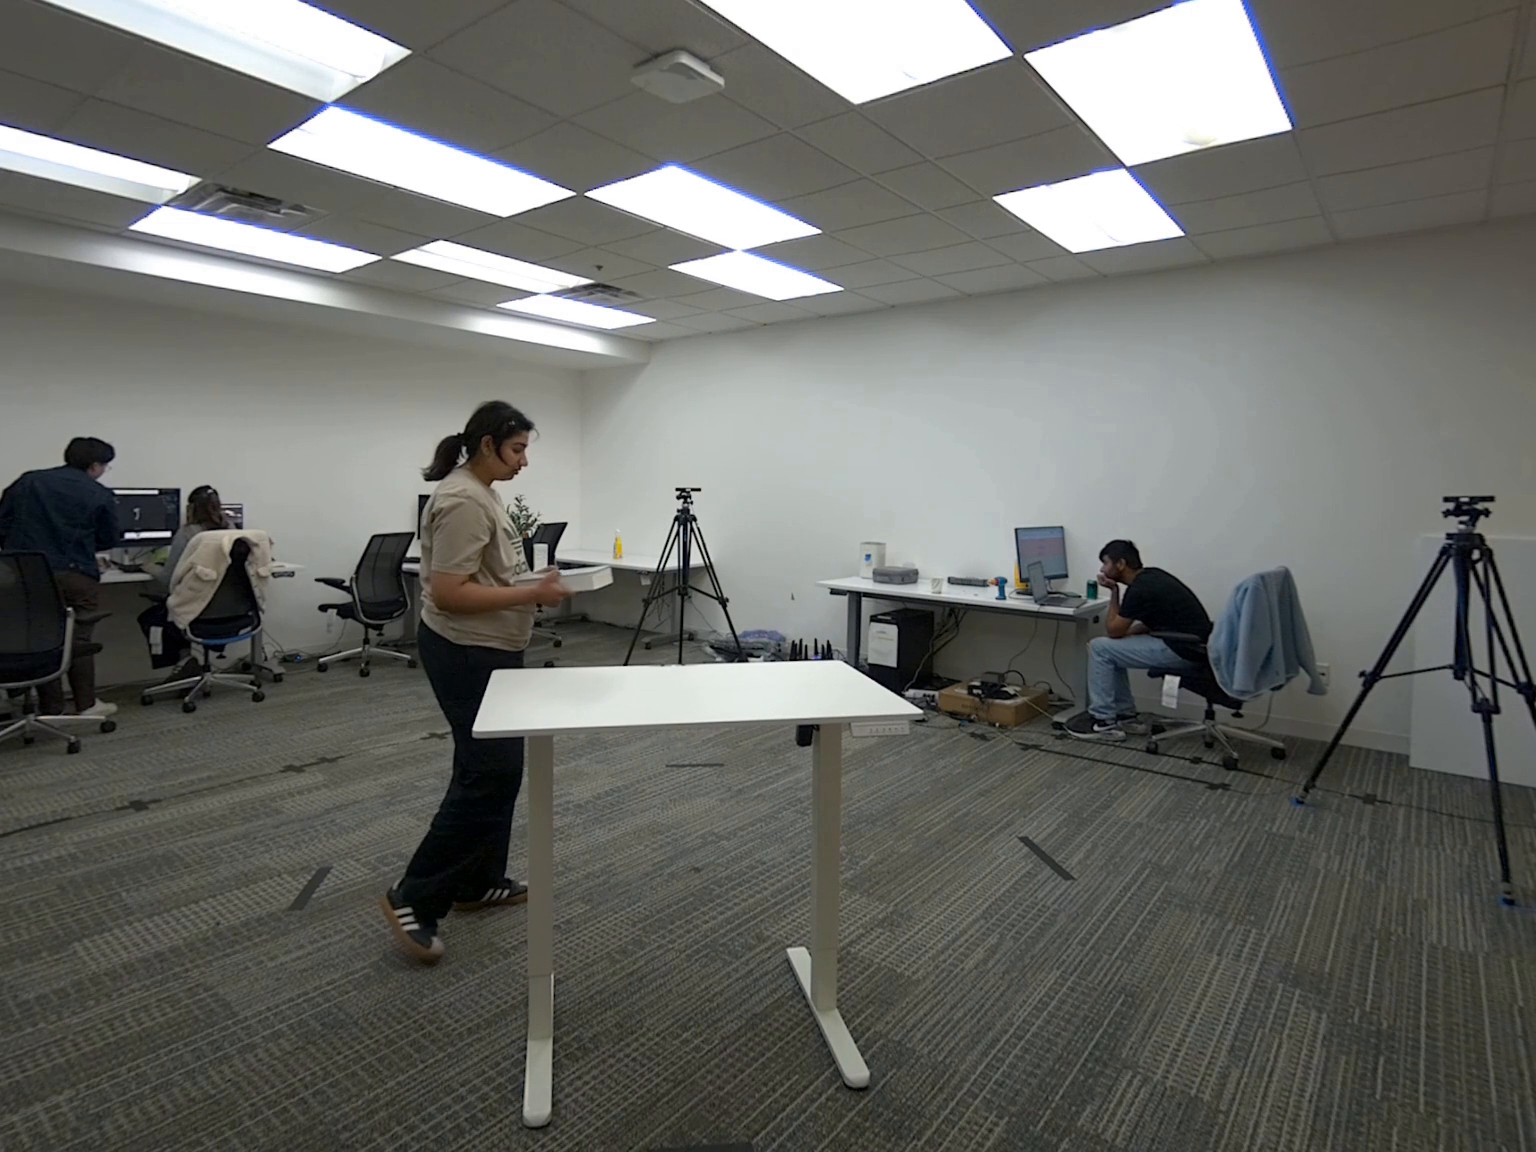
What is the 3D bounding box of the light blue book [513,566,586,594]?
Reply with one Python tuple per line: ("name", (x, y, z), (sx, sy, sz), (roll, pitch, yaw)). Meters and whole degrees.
("light blue book", (-0.725, 0.025, 2.670), (0.188, 0.059, 0.266), (-11, 6, -20))
